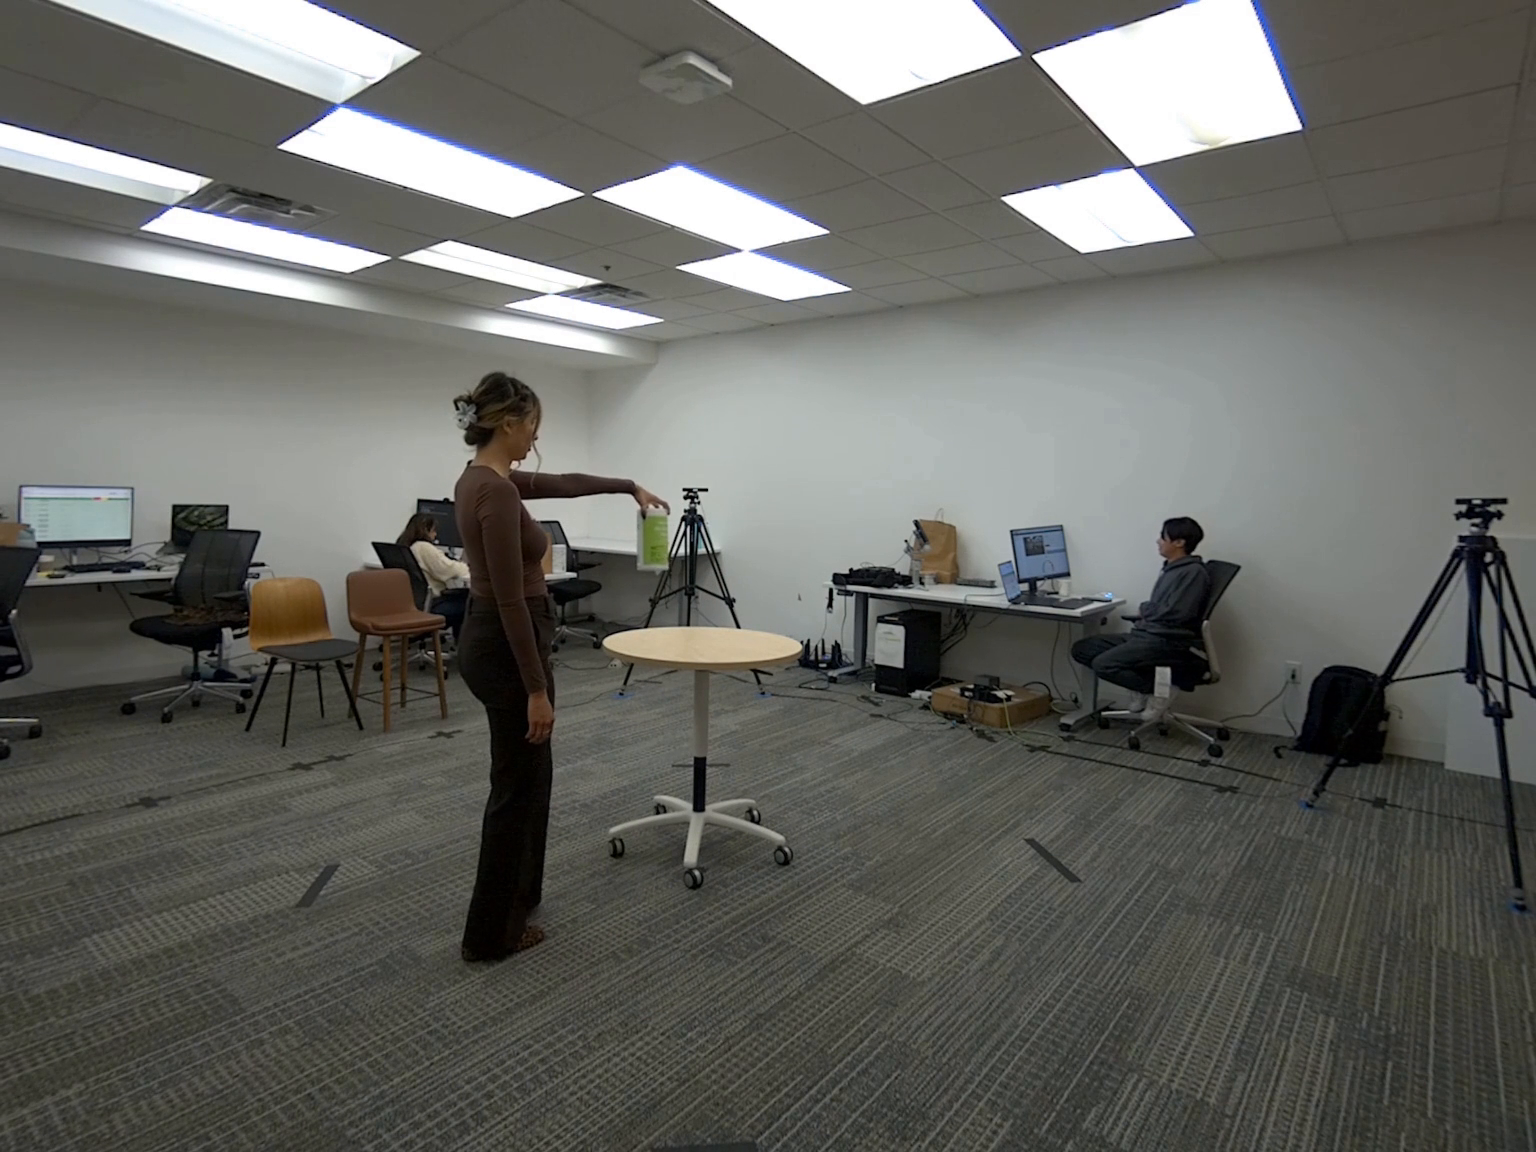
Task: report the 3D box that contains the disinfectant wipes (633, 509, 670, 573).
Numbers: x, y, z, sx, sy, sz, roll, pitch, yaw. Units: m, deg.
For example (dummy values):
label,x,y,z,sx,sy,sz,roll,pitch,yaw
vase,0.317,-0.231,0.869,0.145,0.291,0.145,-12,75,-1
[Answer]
label,x,y,z,sx,sy,sz,roll,pitch,yaw
disinfectant wipes,-0.414,-0.125,2.973,0.118,0.218,0.117,-1,-2,-2
